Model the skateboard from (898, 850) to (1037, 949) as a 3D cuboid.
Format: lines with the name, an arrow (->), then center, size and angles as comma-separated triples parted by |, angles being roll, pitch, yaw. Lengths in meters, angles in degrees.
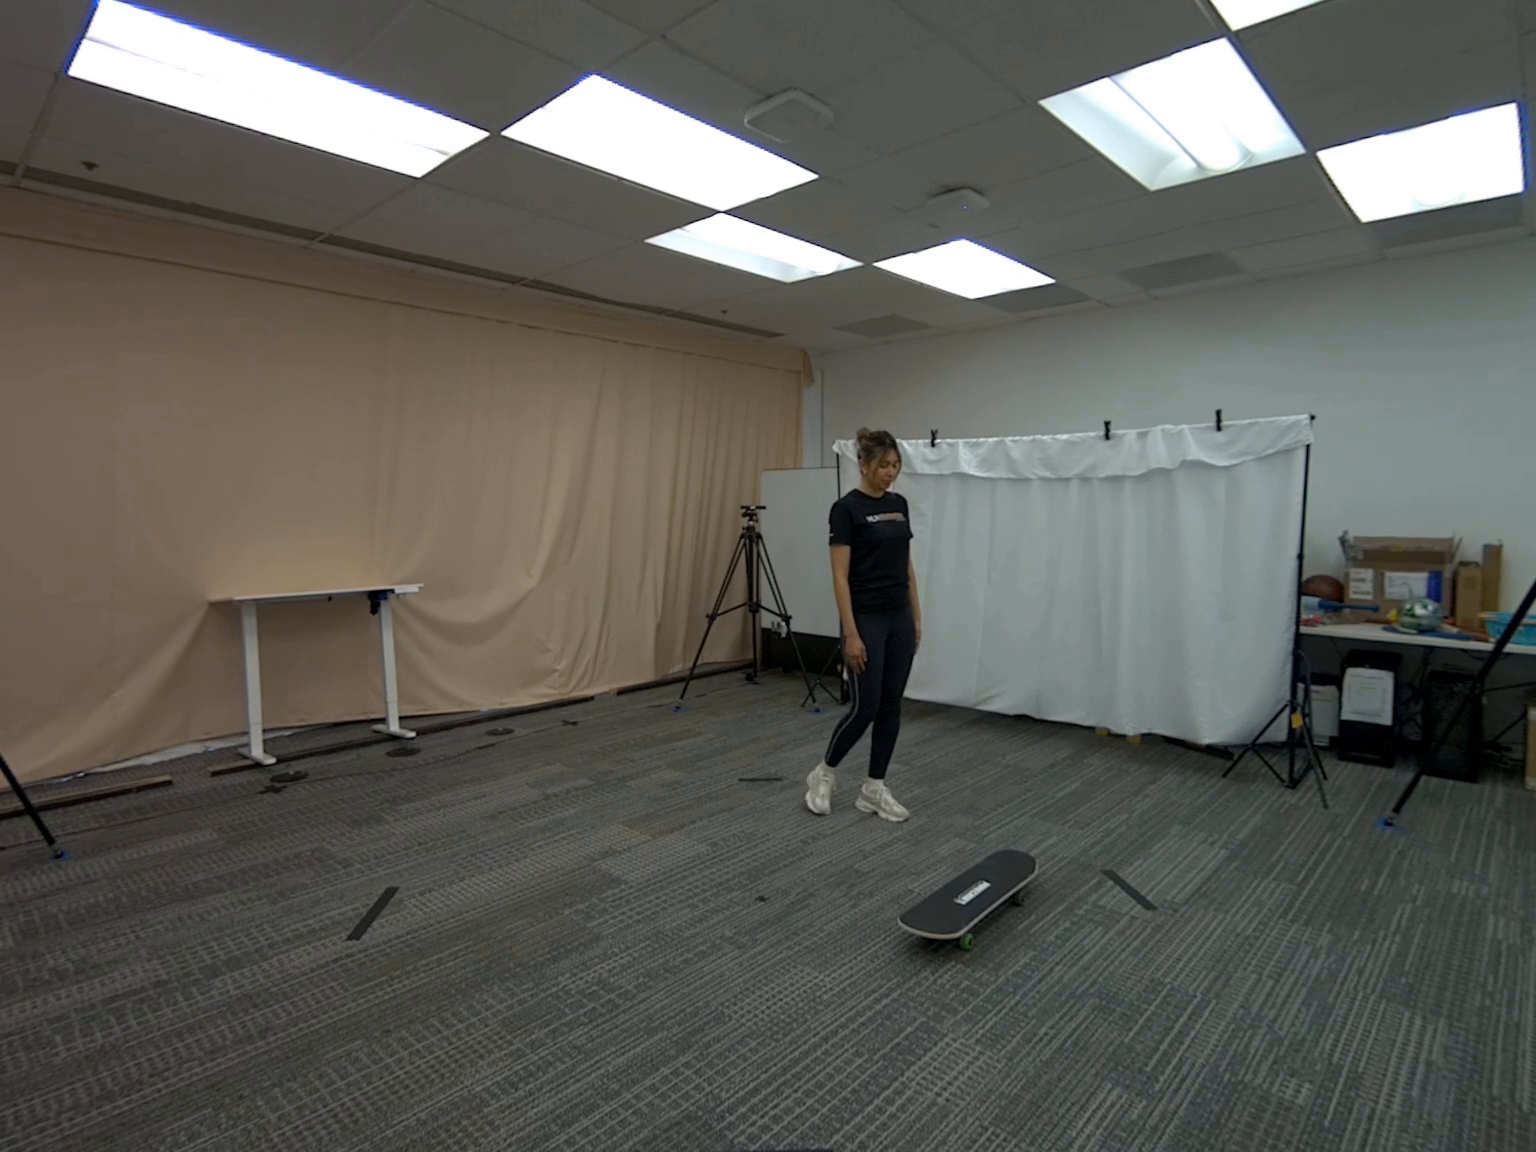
skateboard -> 0.687, 1.097, 2.833 | 0.200, 0.110, 0.762 | 2, 5, 40
